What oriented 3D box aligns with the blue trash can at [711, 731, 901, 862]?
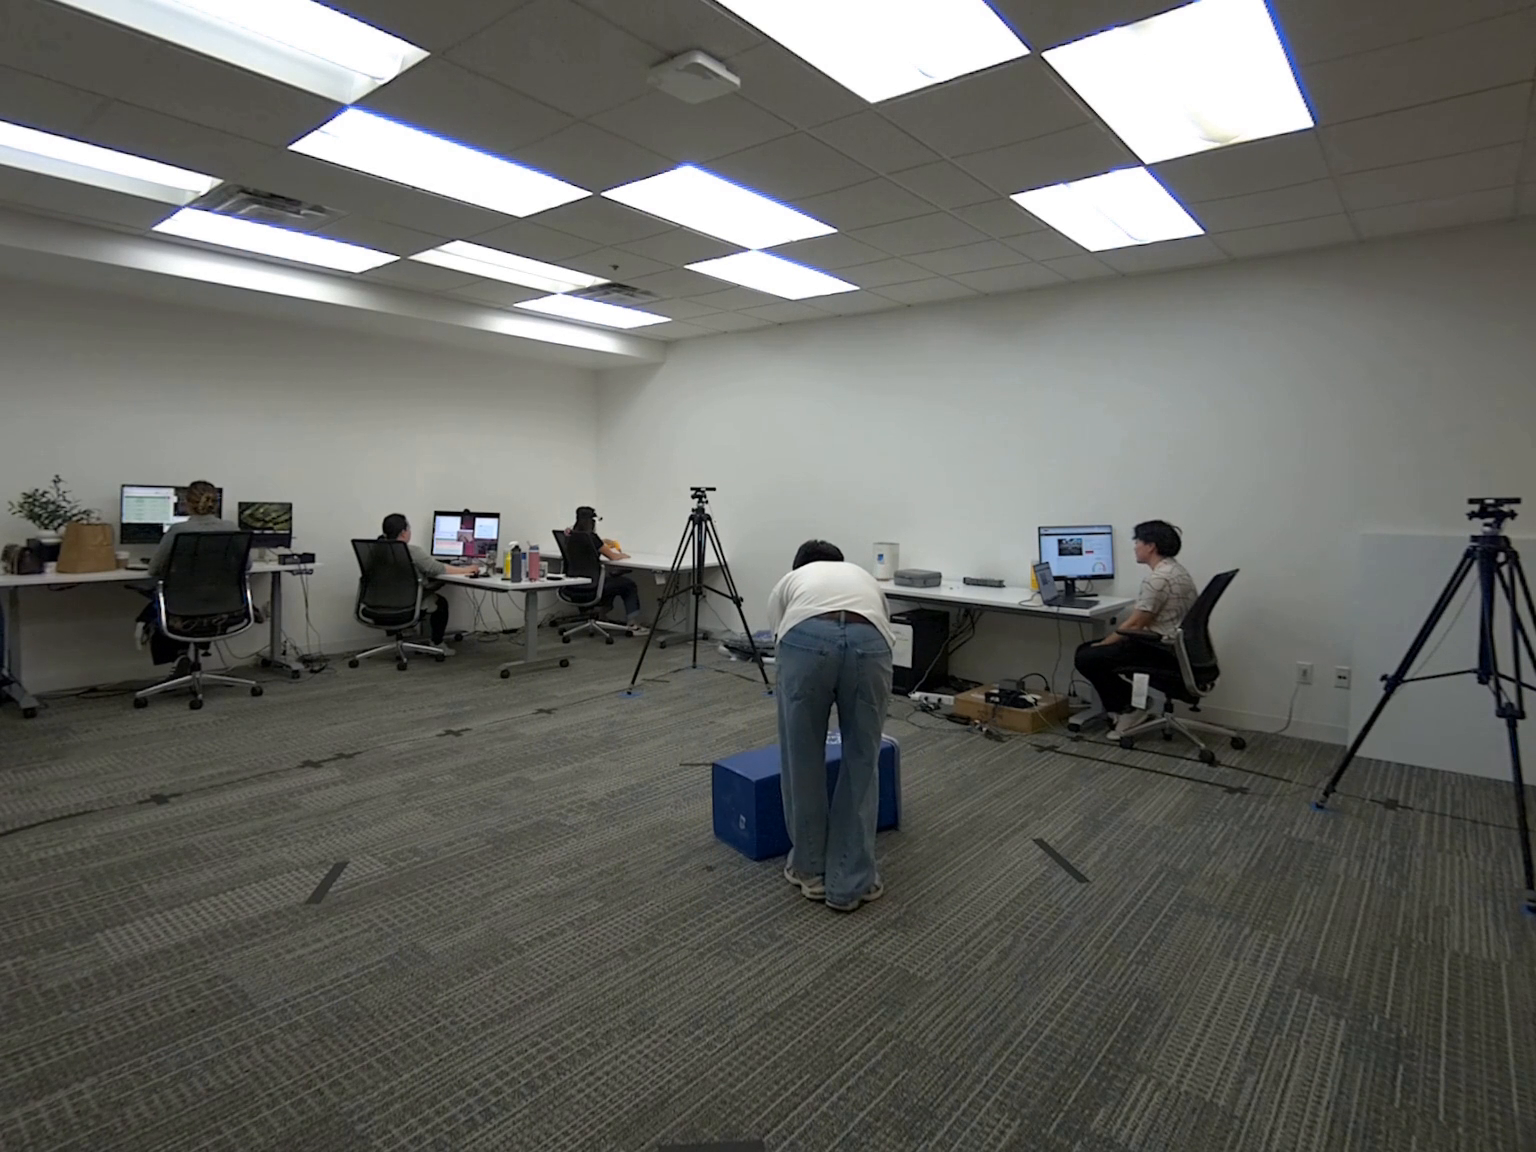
[{"bbox_3d":[0.145,0.872,3.460,0.695,0.376,0.386,-6,7,-34],"label":"blue trash can"}]
